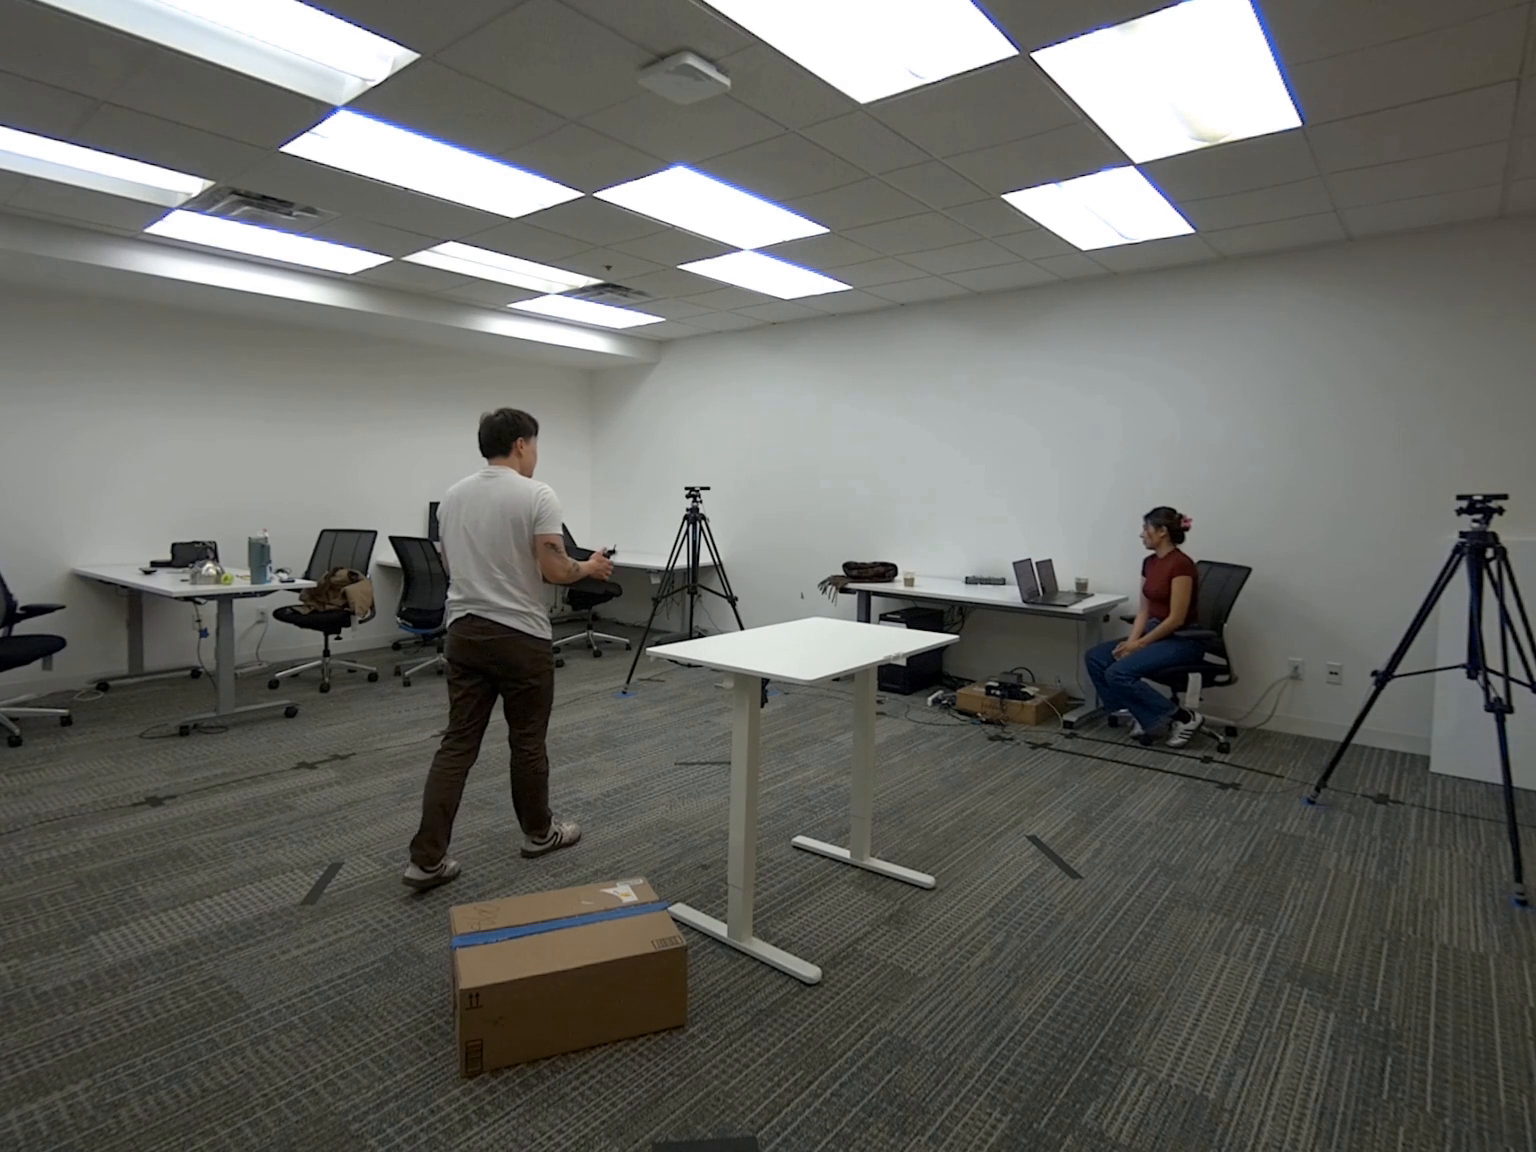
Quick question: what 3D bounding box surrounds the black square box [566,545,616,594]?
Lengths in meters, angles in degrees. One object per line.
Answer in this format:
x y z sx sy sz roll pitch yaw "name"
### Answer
-0.783 -0.034 3.306 0.236 0.156 0.209 7 -5 44 "black square box"
